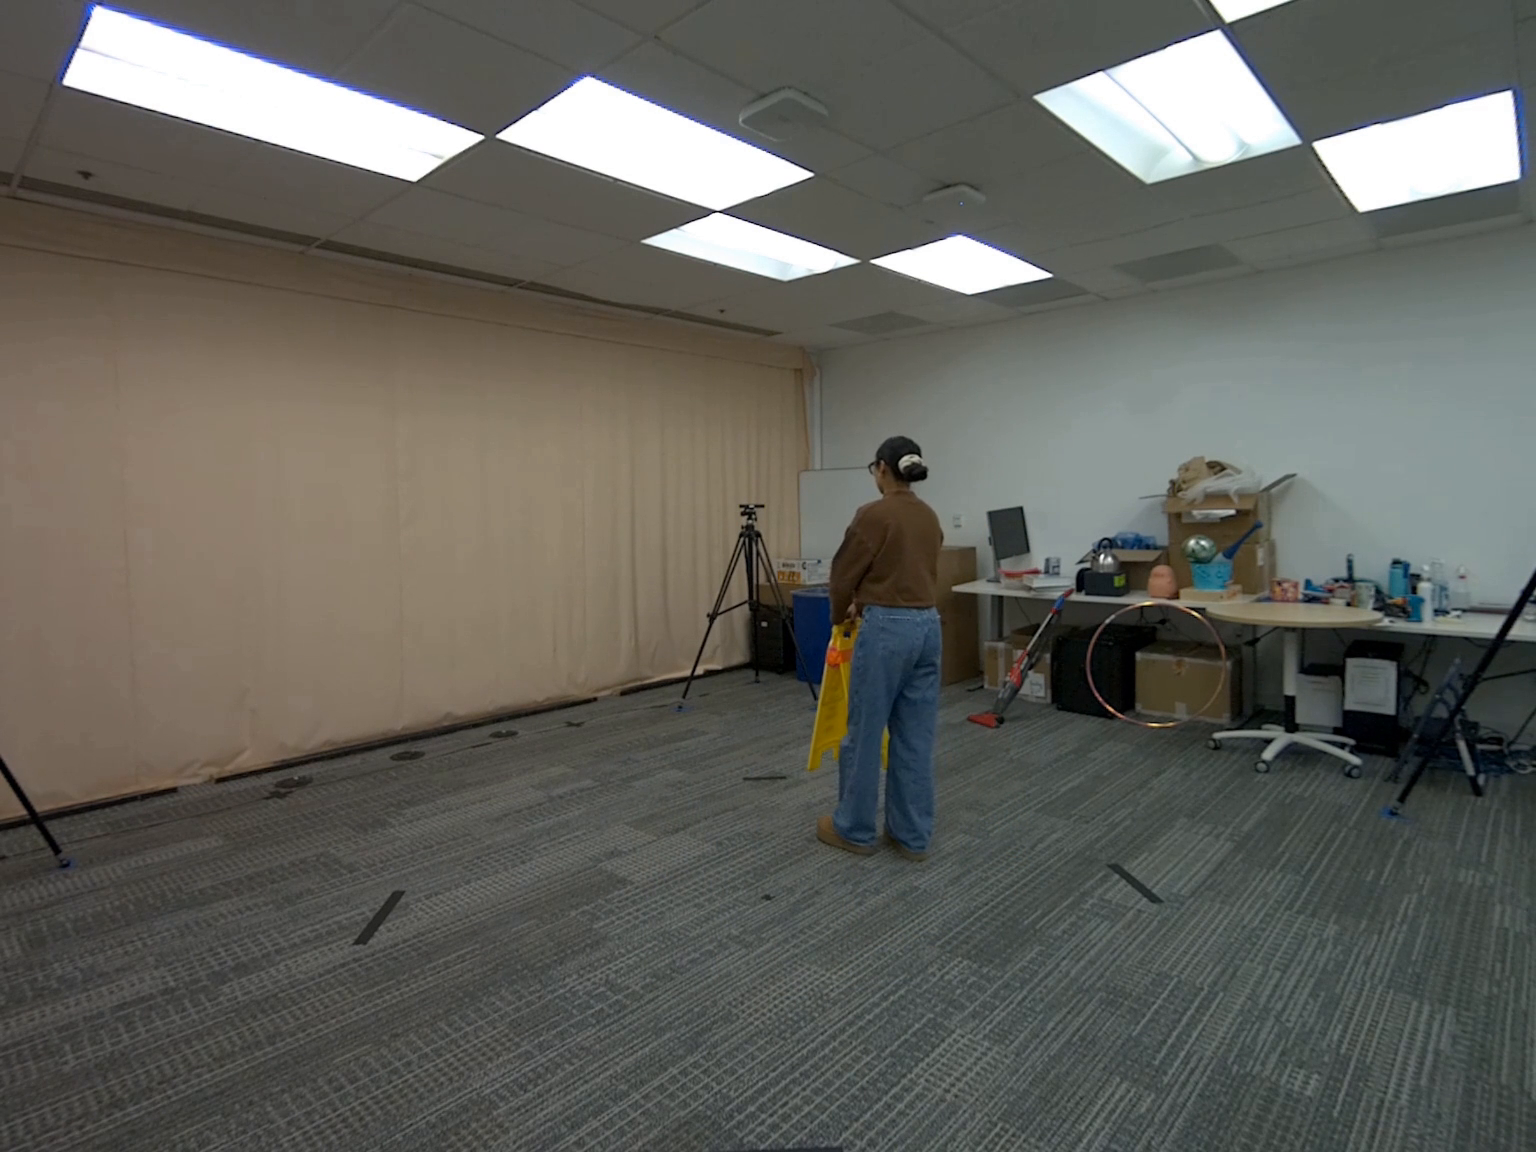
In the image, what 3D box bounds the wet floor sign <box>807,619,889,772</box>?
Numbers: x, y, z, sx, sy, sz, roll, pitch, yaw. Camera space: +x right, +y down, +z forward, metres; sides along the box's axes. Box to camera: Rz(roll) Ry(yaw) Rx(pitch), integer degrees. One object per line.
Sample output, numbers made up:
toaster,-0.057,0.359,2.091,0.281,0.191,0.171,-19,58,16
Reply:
wet floor sign,0.355,0.513,3.629,0.299,0.645,0.274,0,4,39
